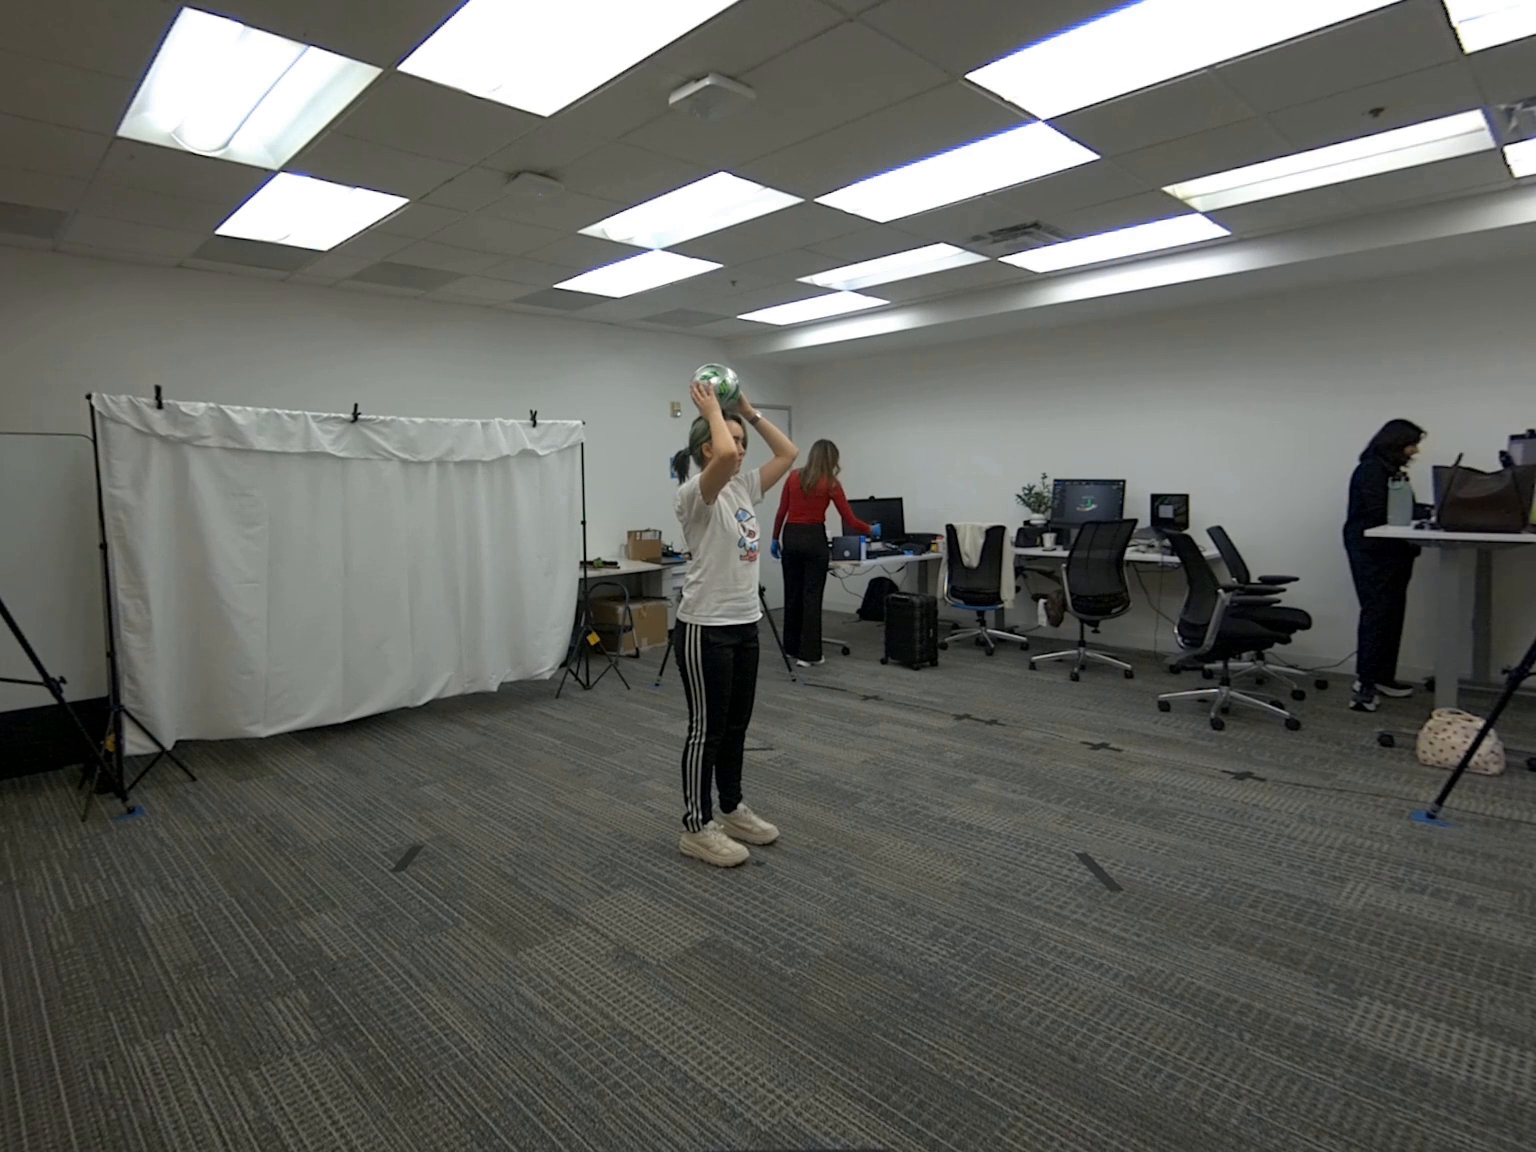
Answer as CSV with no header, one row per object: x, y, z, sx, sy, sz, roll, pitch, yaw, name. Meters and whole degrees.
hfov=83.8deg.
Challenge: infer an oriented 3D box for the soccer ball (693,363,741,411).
-0.196,-0.691,3.165,0.187,0.187,0.188,-1,5,-2,soccer ball
